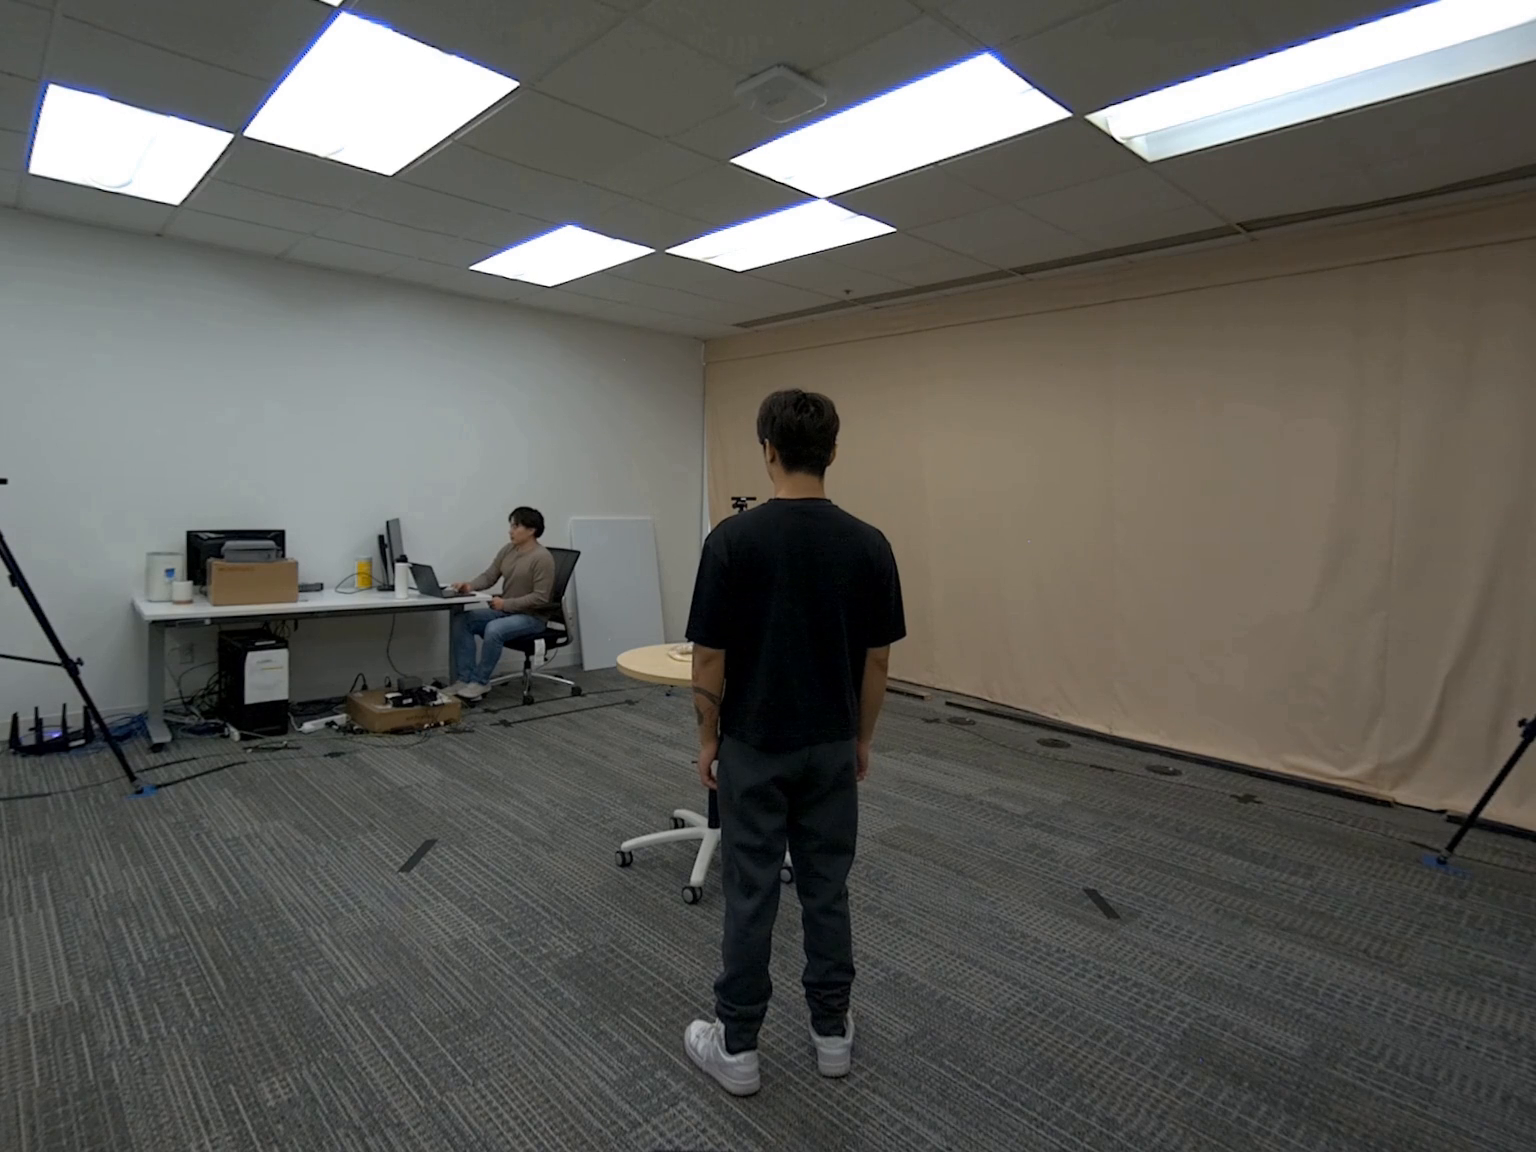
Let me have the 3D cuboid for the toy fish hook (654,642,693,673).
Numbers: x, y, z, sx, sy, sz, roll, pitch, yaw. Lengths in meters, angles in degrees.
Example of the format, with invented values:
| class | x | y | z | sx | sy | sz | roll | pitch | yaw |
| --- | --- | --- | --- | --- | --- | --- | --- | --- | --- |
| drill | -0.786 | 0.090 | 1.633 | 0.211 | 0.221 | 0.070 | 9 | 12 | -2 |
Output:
| class | x | y | z | sx | sy | sz | roll | pitch | yaw |
| --- | --- | --- | --- | --- | --- | --- | --- | --- | --- |
| toy fish hook | -0.182 | 0.312 | 3.121 | 0.220 | 0.048 | 0.519 | -11 | 11 | -41 |
